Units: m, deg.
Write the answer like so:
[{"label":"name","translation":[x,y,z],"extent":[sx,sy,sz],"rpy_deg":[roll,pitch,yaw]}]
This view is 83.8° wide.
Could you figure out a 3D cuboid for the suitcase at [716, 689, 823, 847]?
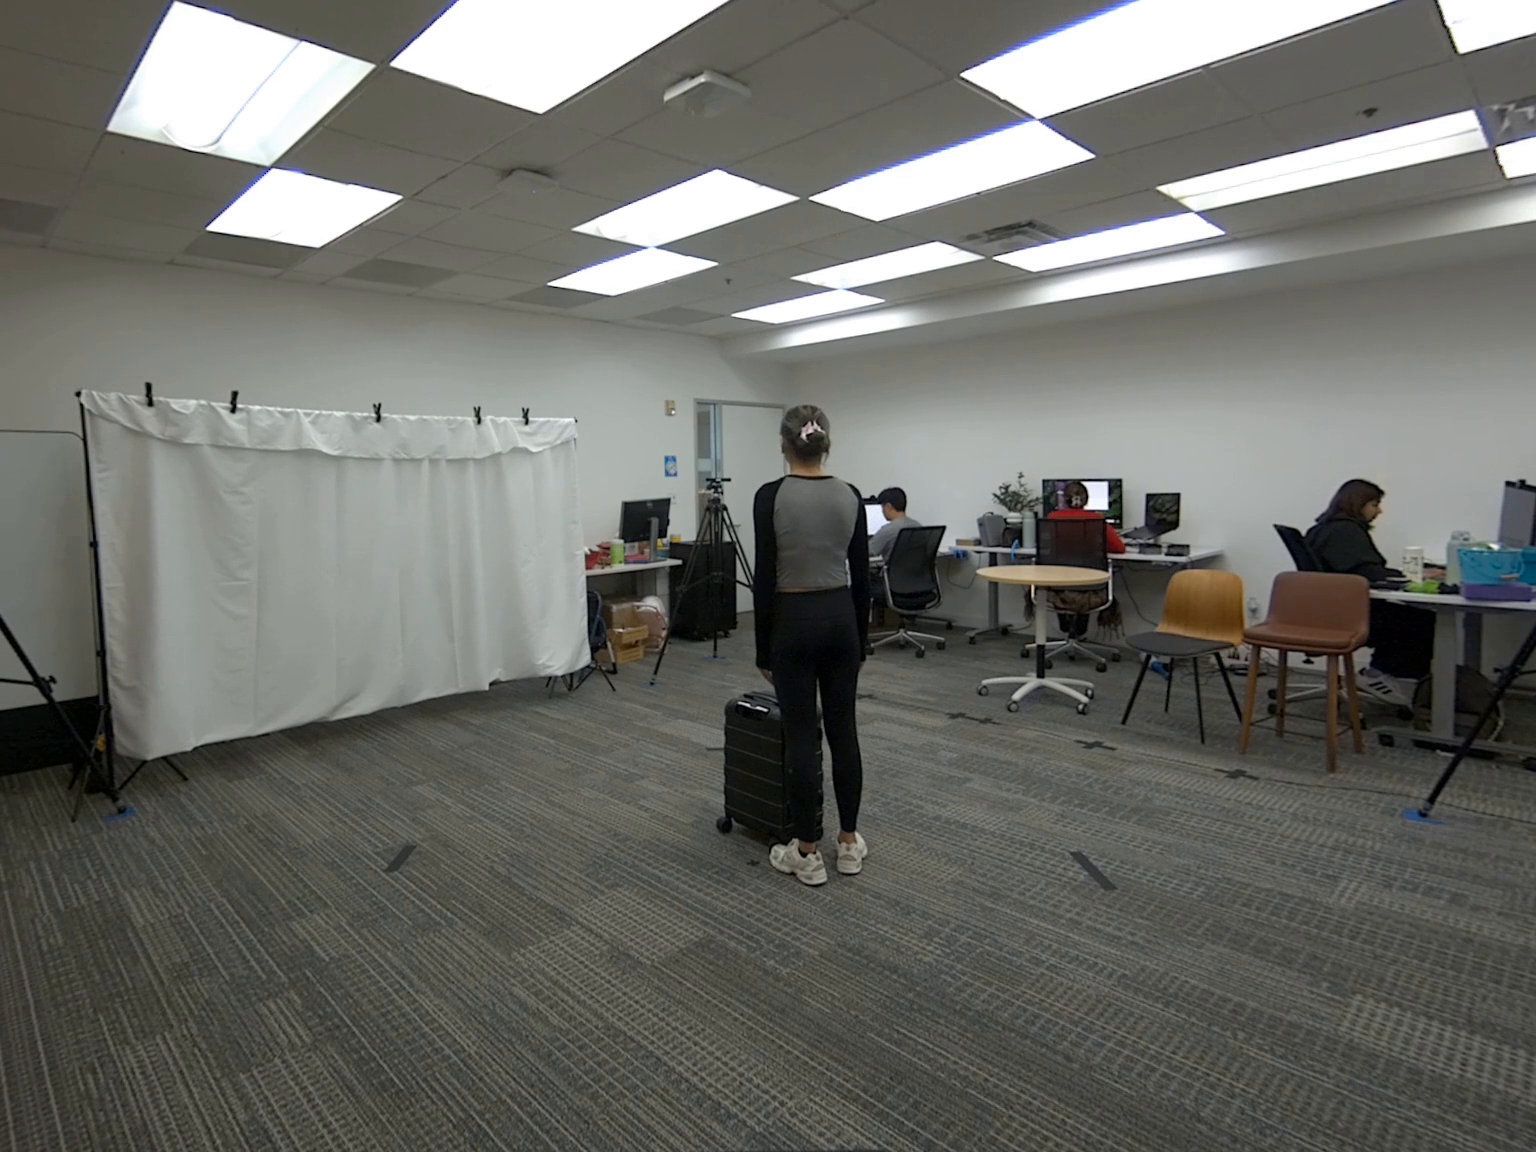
[{"label":"suitcase","translation":[0.015,0.739,3.352],"extent":[0.241,0.548,0.387],"rpy_deg":[-2,5,-44]}]
